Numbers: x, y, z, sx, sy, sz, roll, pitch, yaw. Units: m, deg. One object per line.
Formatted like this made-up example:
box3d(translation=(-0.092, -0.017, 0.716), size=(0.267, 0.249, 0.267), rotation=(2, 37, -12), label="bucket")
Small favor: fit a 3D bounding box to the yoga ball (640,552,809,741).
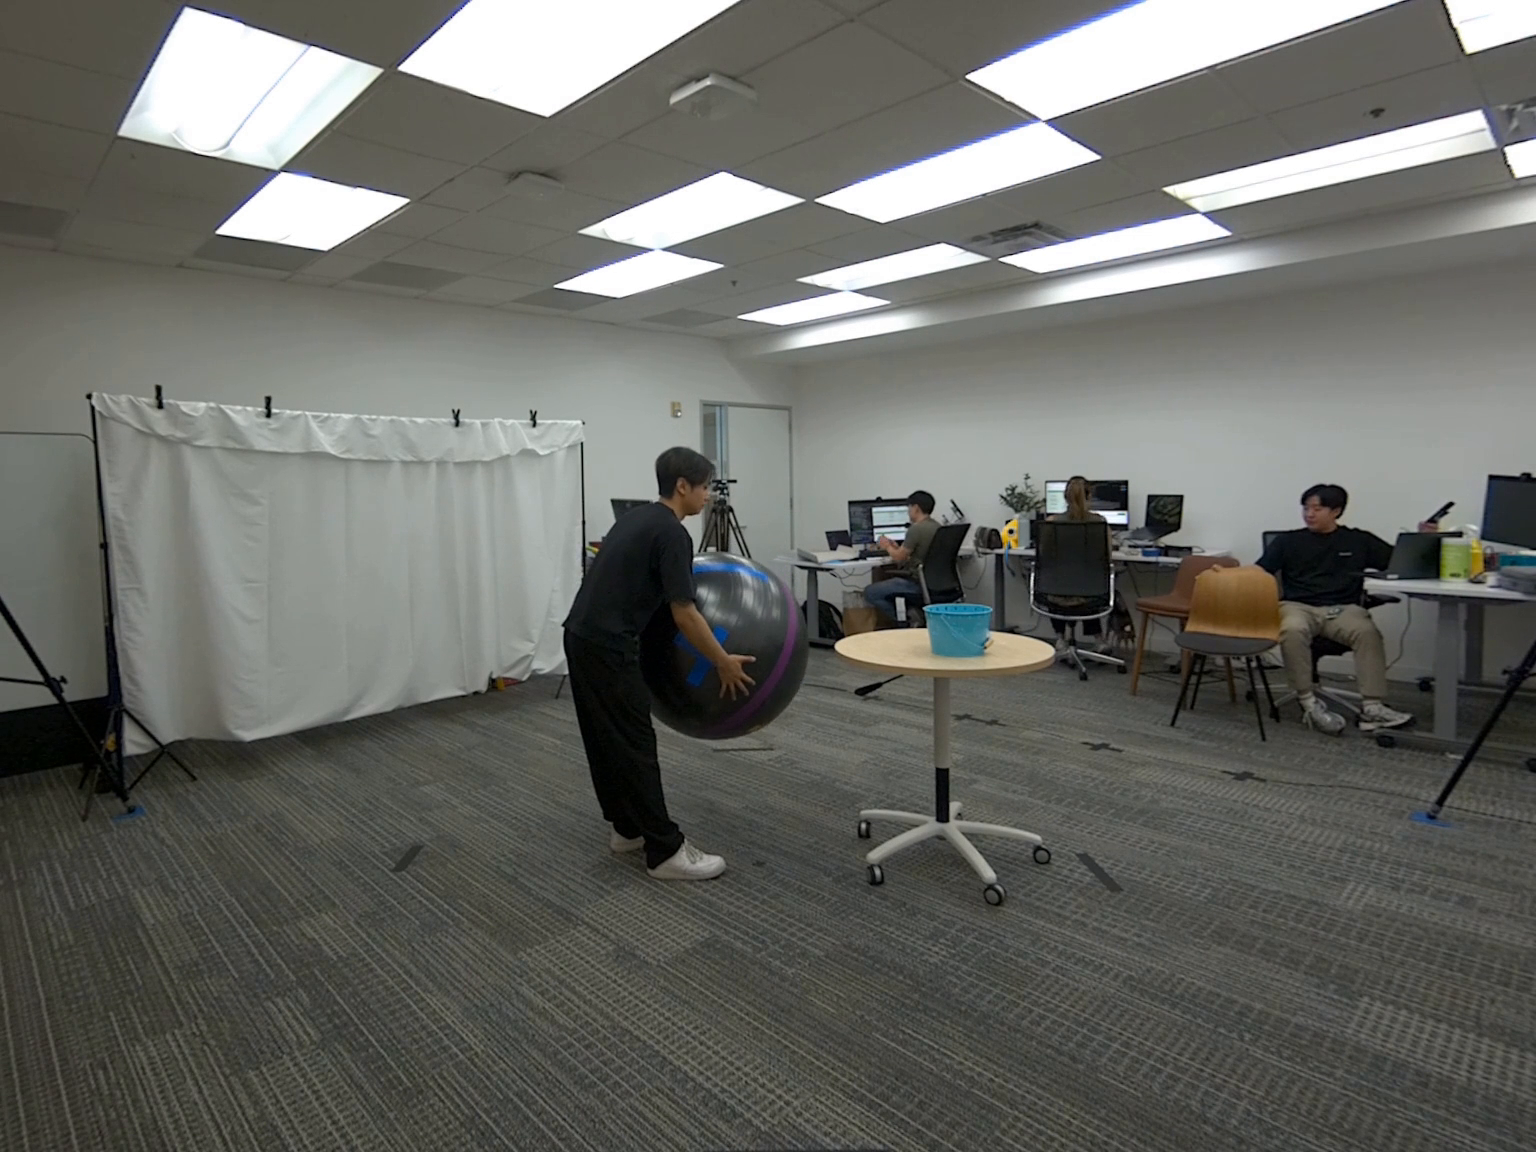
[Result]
box3d(translation=(-0.211, 0.292, 3.505), size=(0.757, 0.755, 0.762), rotation=(-1, 5, -2), label="yoga ball")
